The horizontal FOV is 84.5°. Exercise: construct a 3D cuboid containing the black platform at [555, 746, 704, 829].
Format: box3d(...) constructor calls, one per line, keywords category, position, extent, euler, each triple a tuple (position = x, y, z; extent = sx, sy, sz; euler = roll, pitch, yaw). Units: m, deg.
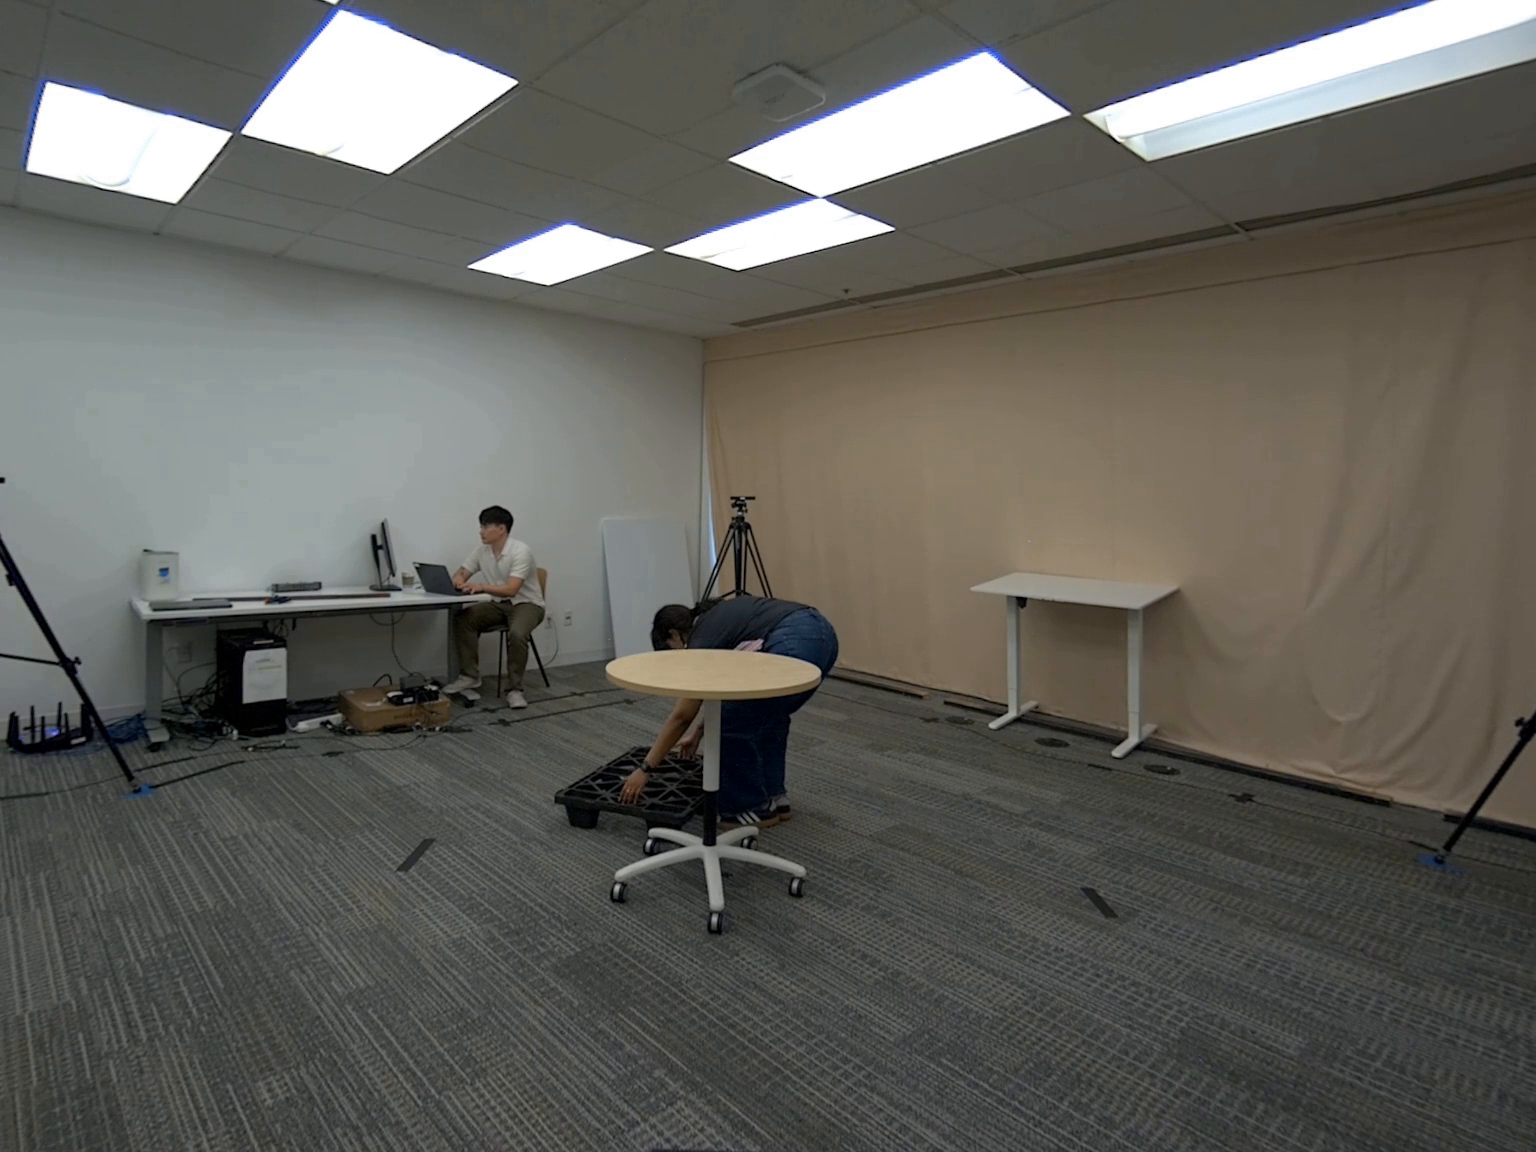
box3d(category="black platform", position=(-0.499, 0.966, 3.794), extent=(0.614, 0.143, 0.796), euler=(3, 6, 18))
